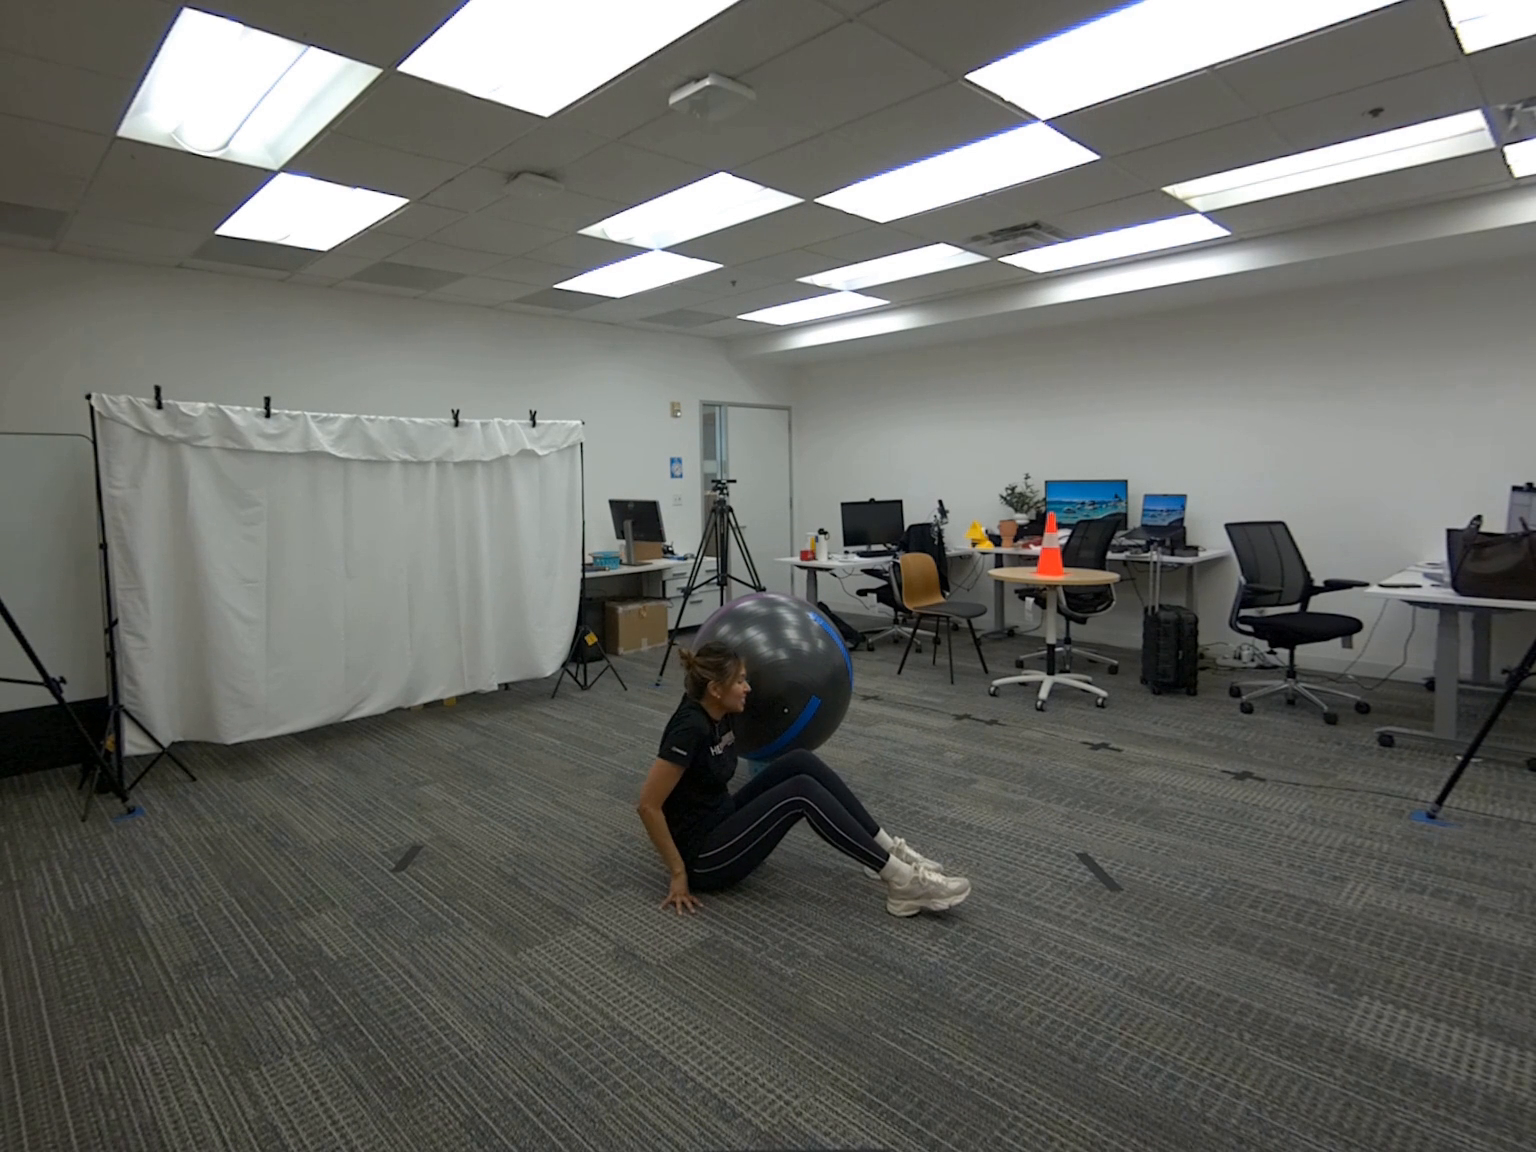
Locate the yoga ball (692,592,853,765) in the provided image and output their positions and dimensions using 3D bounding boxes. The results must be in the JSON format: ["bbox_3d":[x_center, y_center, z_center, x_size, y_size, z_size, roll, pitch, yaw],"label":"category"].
[{"bbox_3d":[-0.004,0.458,3.851,0.757,0.755,0.762,-1,5,-2],"label":"yoga ball"}]
